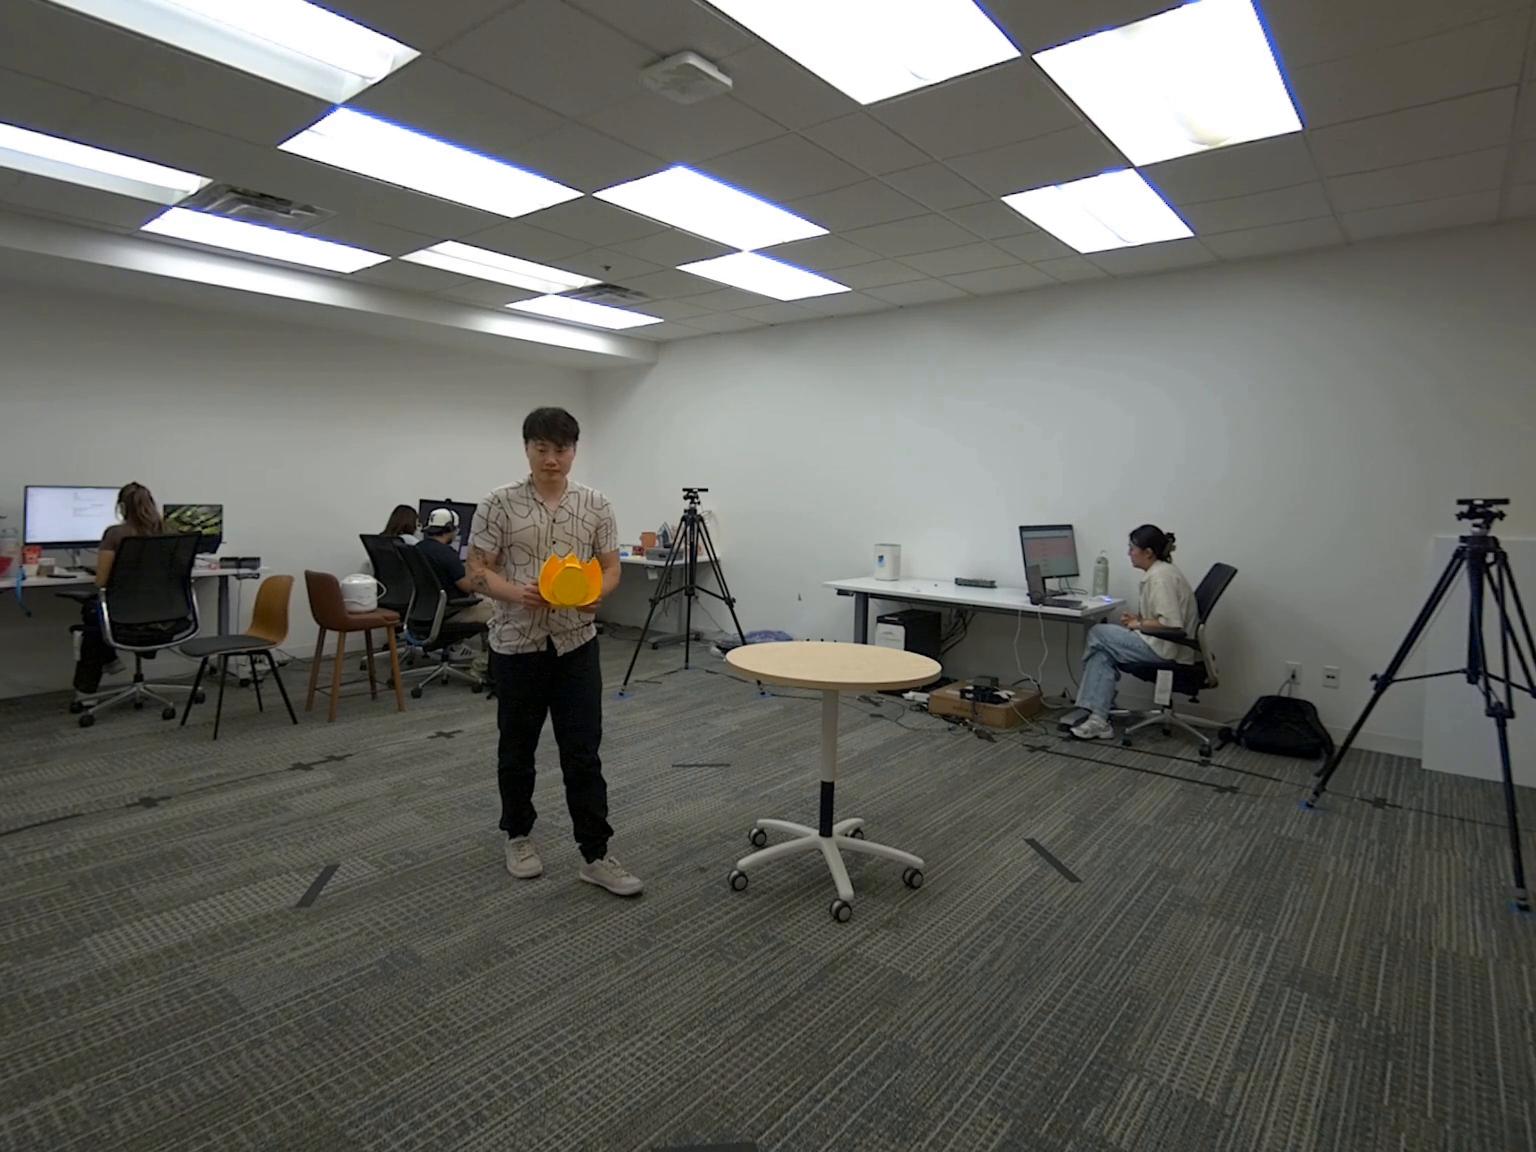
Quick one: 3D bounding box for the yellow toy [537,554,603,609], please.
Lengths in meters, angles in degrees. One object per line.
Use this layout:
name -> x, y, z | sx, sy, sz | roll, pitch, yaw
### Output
yellow toy -> -0.692, -0.003, 2.825 | 0.200, 0.192, 0.238 | 6, 9, -24
